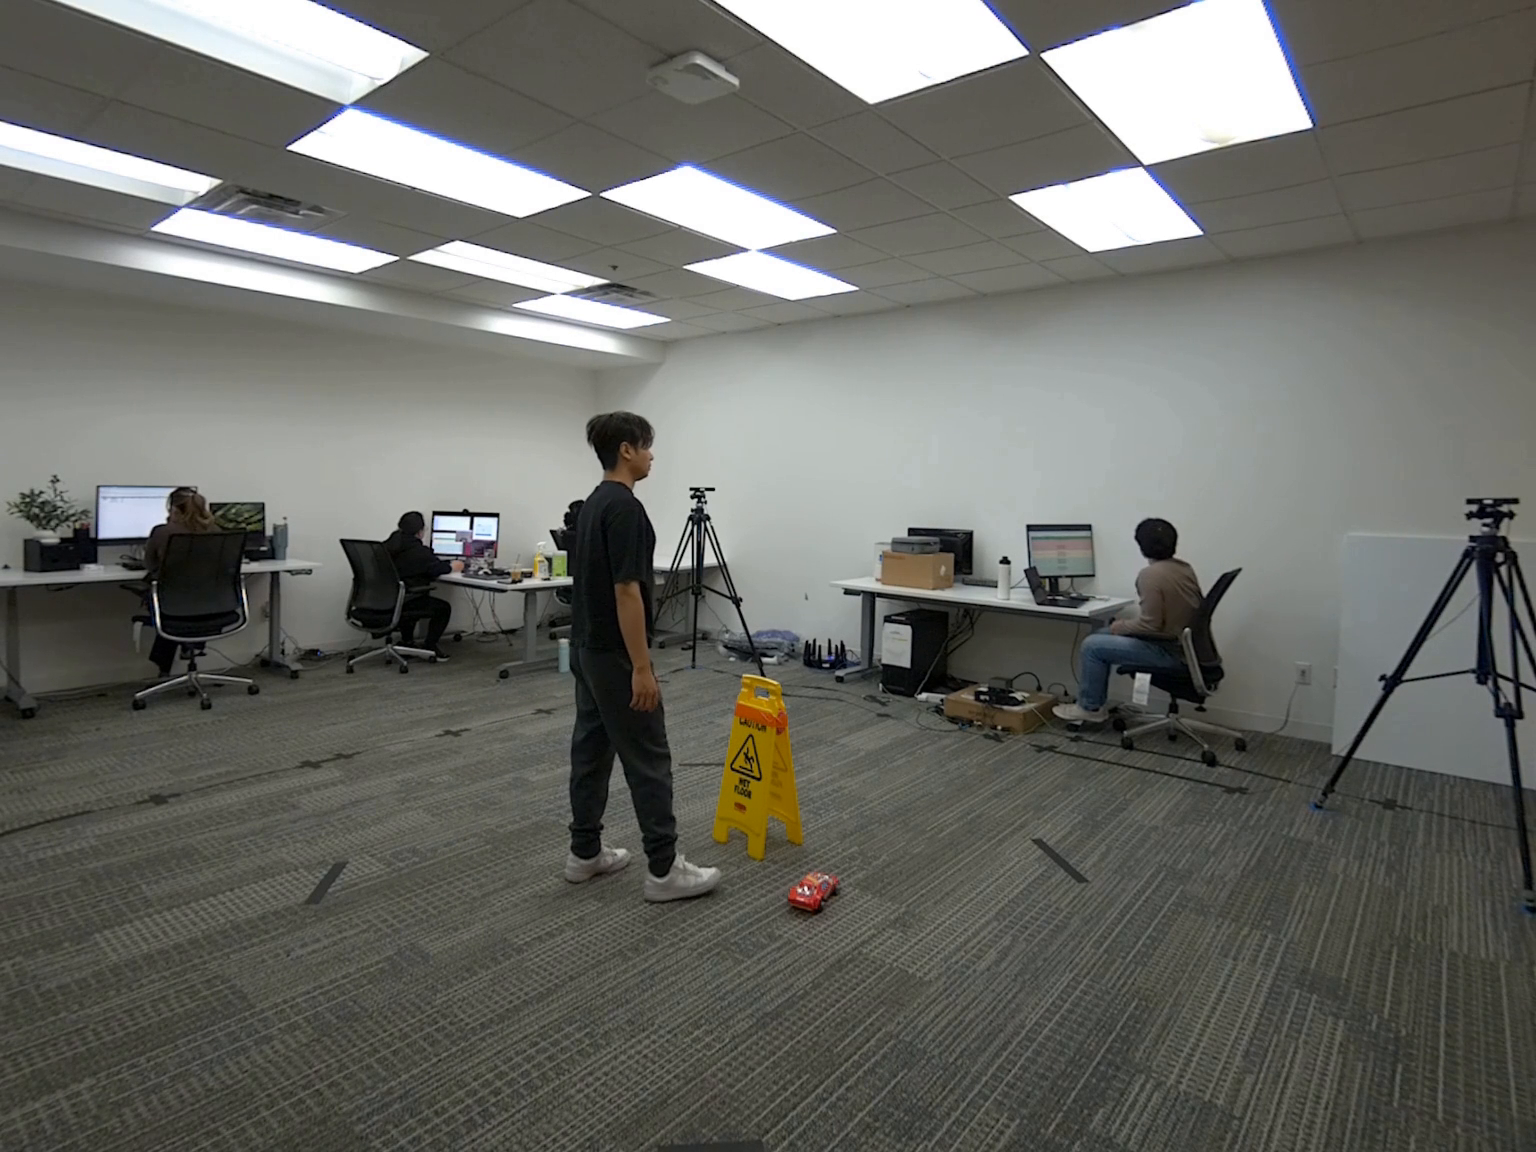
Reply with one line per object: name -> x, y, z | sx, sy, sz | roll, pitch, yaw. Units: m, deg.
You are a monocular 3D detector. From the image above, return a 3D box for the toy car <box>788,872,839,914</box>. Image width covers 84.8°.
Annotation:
toy car -> 0.146, 1.070, 2.878 | 0.134, 0.083, 0.246 | 5, -4, 27
